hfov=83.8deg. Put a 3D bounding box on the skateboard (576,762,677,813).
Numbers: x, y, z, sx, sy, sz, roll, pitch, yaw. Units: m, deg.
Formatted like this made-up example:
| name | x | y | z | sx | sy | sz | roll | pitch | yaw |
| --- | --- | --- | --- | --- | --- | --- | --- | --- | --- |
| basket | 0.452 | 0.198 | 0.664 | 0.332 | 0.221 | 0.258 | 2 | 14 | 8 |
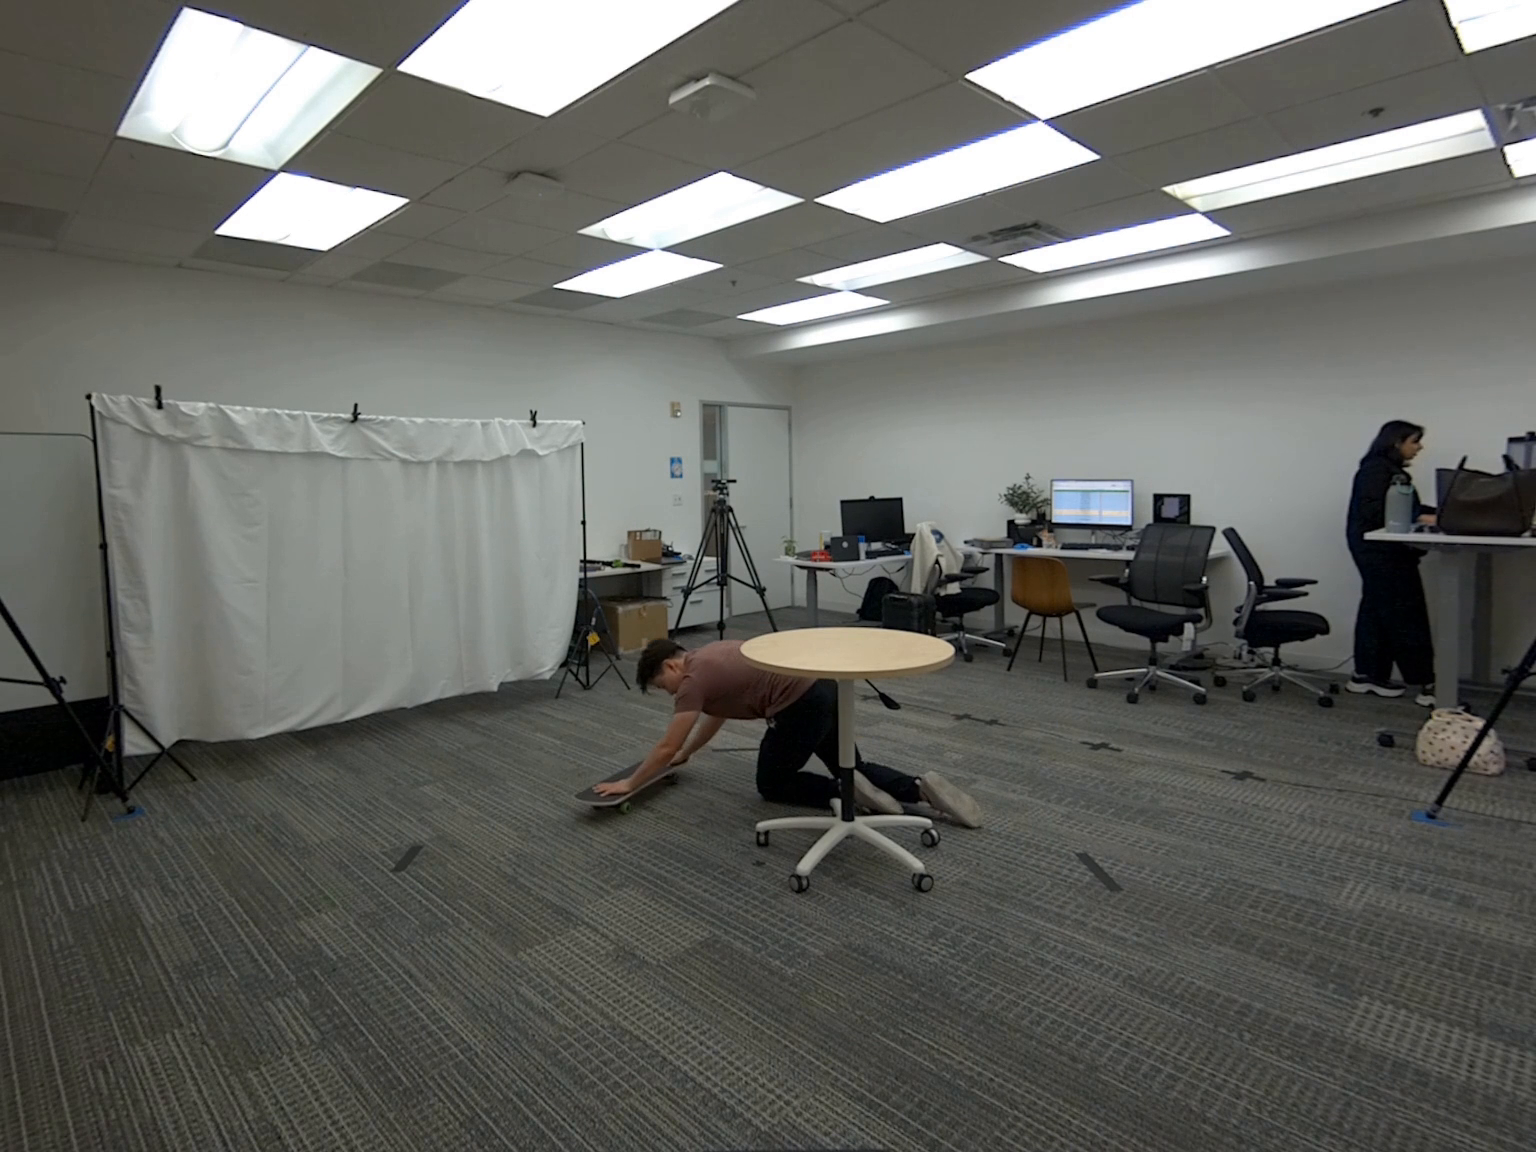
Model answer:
| name | x | y | z | sx | sy | sz | roll | pitch | yaw |
| --- | --- | --- | --- | --- | --- | --- | --- | --- | --- |
| skateboard | -0.571 | 0.923 | 3.819 | 0.198 | 0.110 | 0.770 | 1 | 6 | 26 |
